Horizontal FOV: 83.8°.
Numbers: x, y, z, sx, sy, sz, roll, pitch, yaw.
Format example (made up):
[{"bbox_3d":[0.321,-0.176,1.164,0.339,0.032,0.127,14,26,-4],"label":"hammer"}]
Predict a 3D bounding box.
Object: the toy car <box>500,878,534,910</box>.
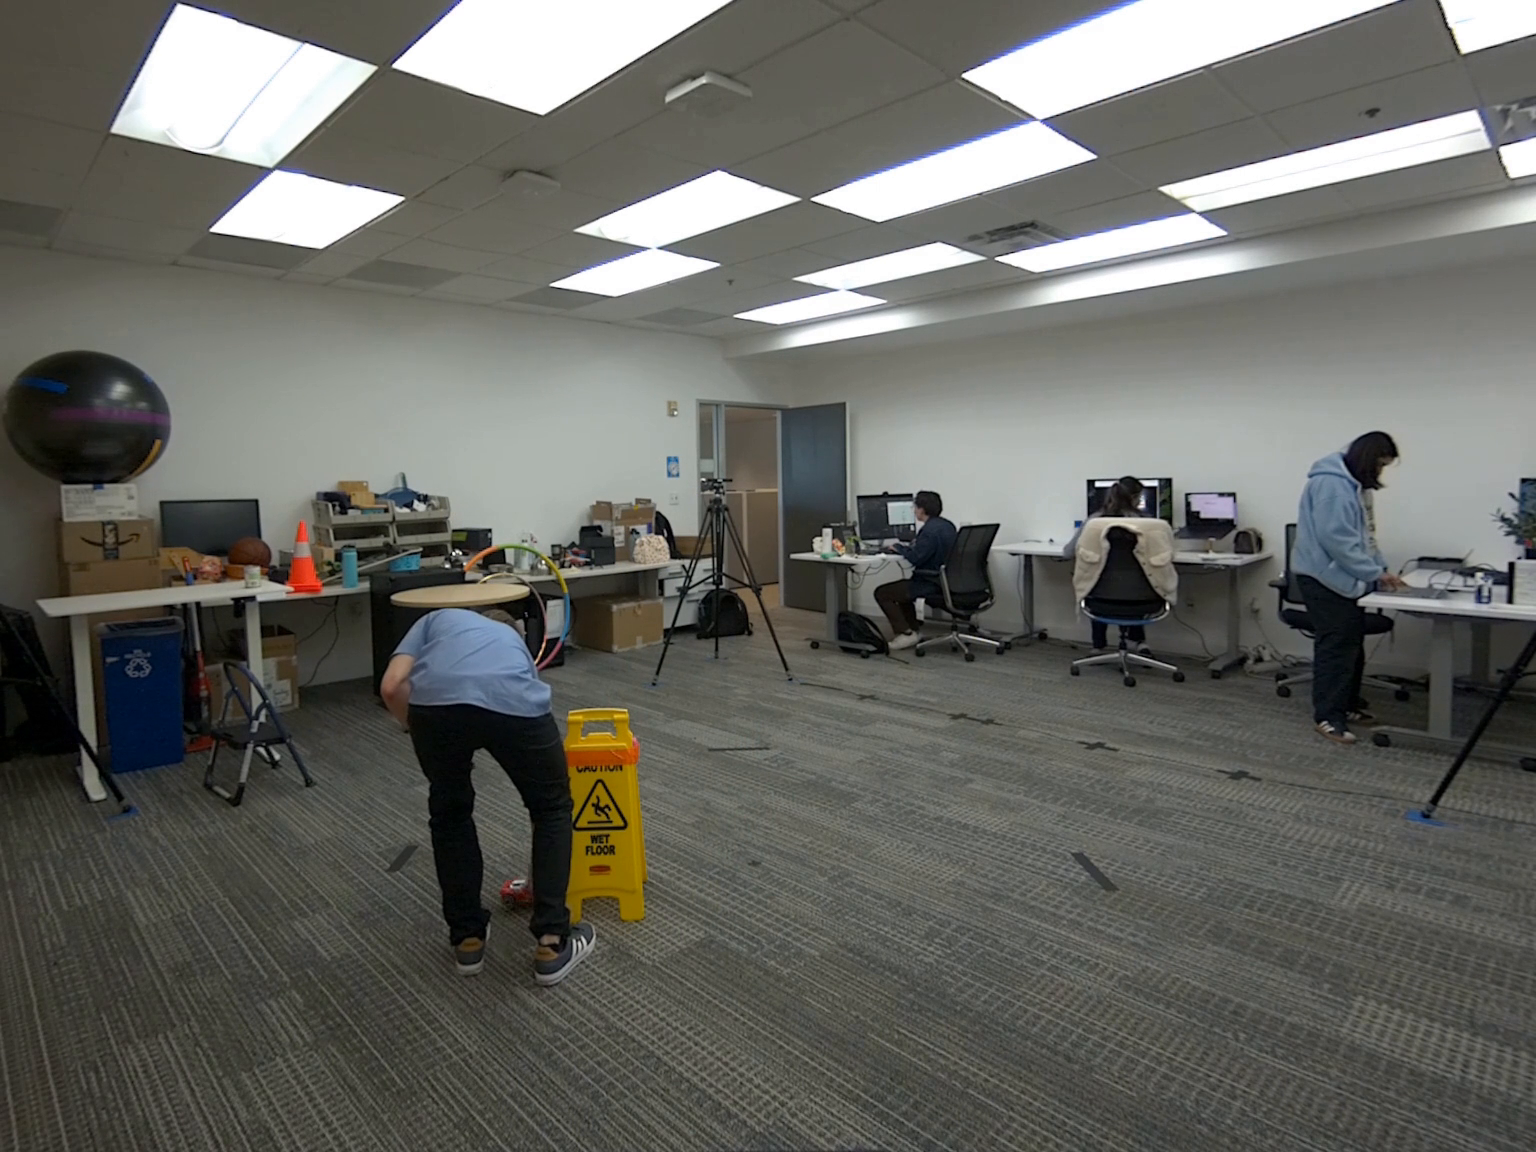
[{"bbox_3d":[-0.772,1.040,2.834,0.255,0.083,0.130,-5,5,3],"label":"toy car"}]
